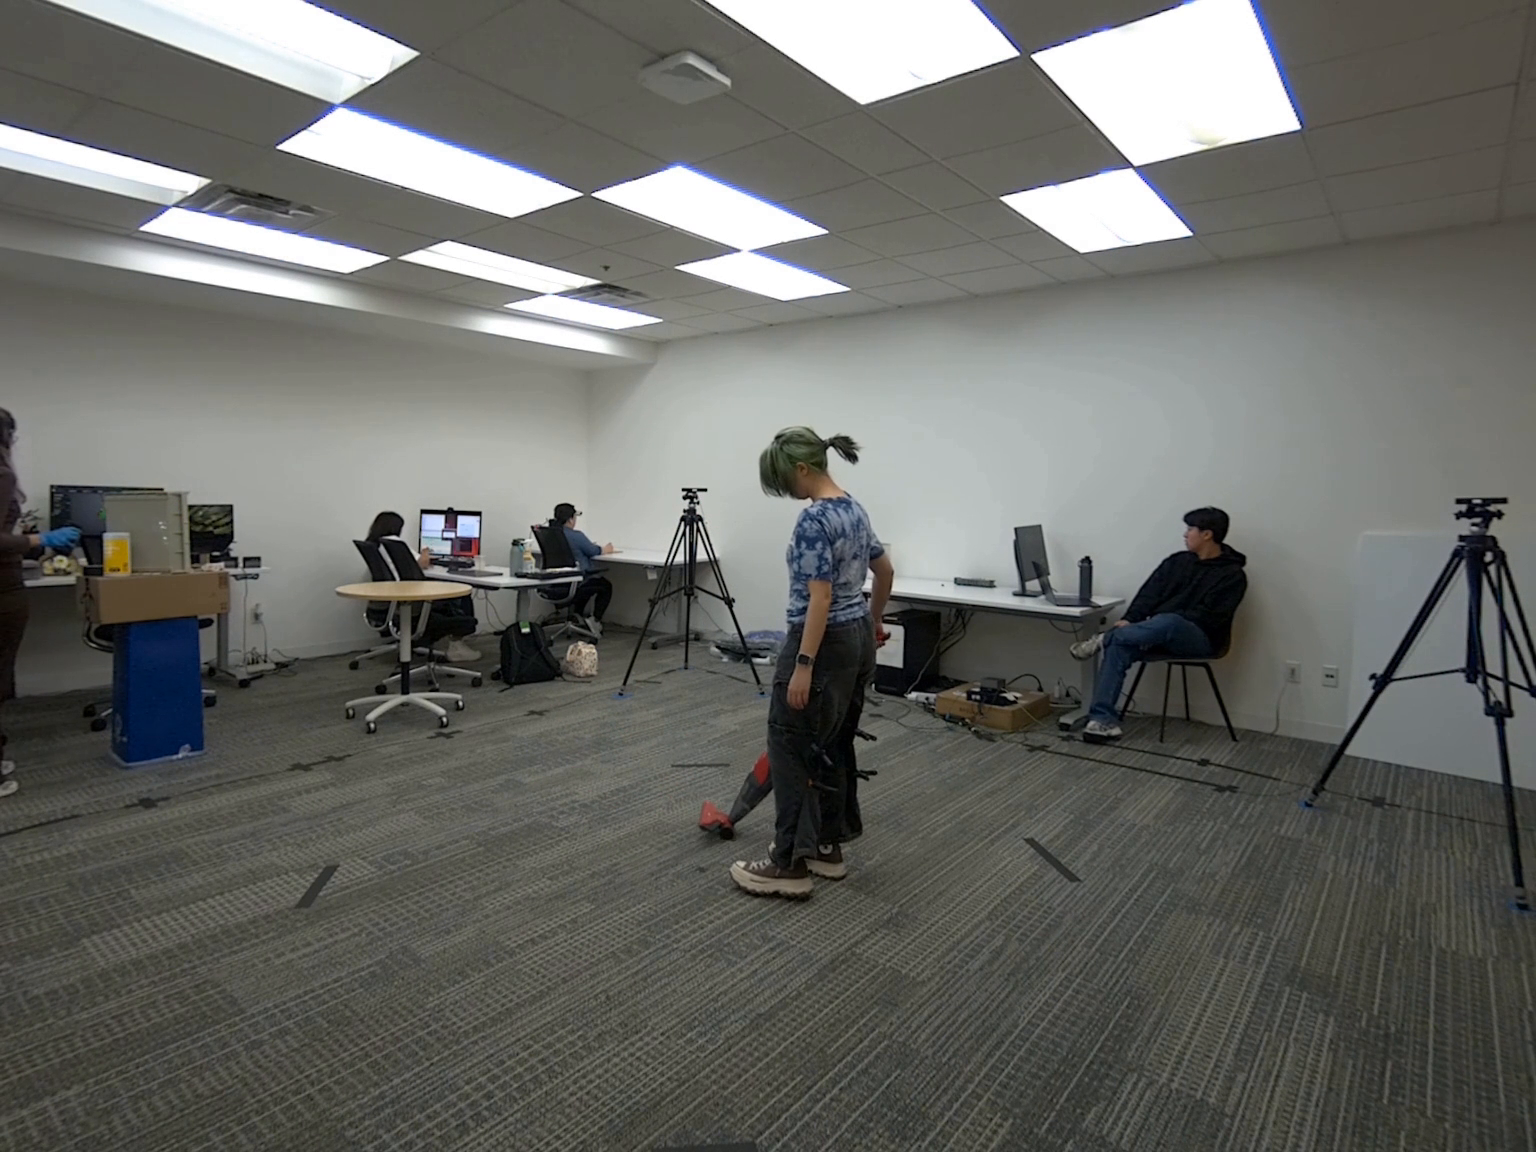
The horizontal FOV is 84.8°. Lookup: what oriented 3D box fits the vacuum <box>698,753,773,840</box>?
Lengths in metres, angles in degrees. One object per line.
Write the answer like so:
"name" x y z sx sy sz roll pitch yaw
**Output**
"vacuum" 0.122 0.629 3.405 0.144 1.049 0.252 43 4 1
